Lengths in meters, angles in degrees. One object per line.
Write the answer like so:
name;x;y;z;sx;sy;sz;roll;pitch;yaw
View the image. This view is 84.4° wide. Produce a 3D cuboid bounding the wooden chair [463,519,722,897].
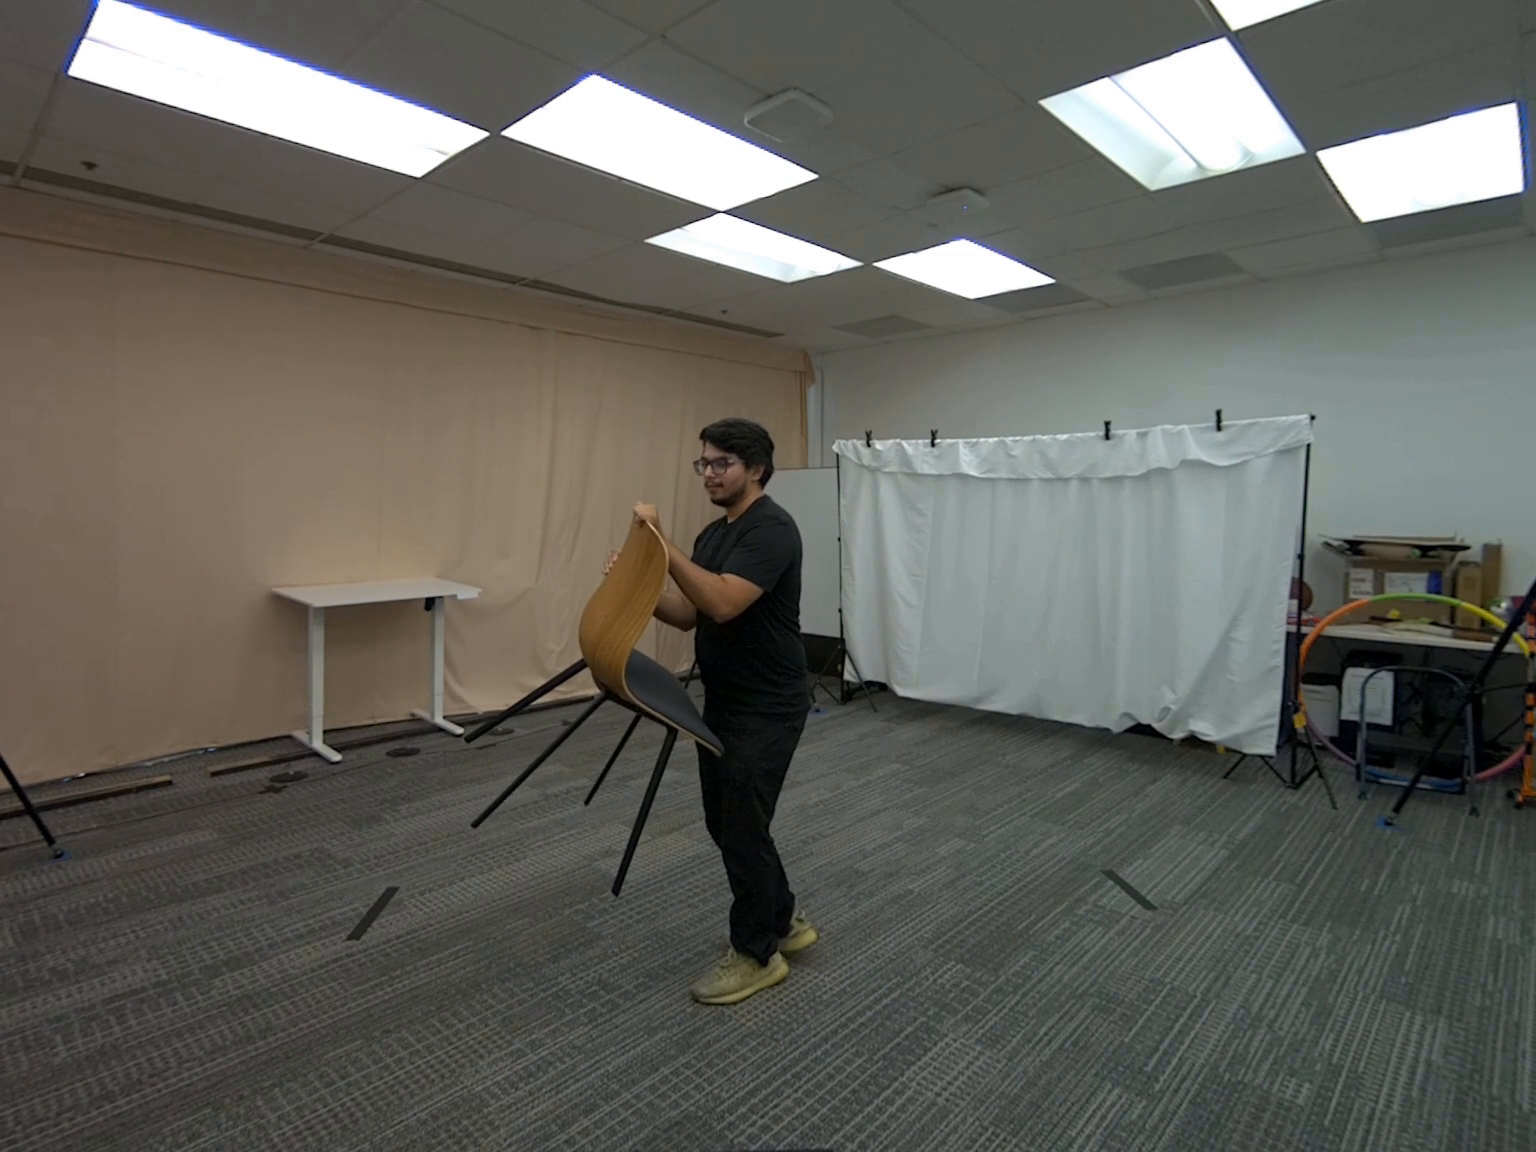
wooden chair;-0.371;0.328;2.317;0.508;0.877;0.492;32;2;-26
